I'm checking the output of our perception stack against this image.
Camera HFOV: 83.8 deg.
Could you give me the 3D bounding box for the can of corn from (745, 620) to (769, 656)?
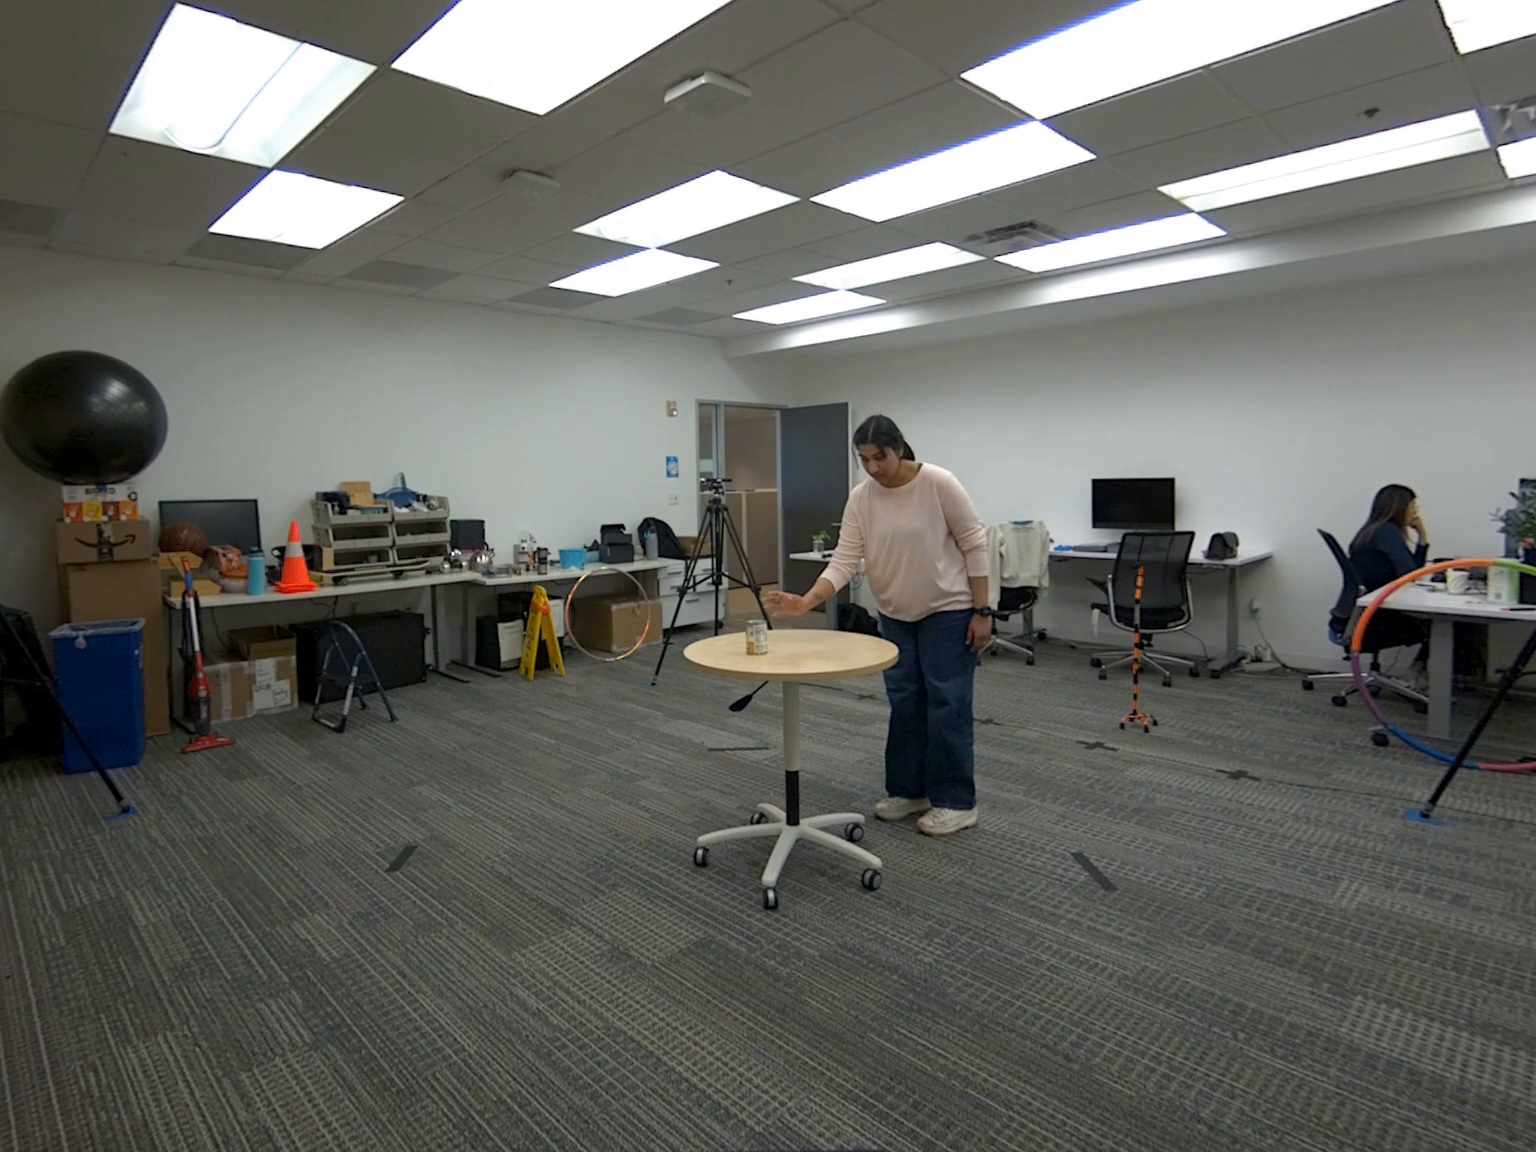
[{"bbox_3d":[-0.038,0.218,3.001,0.074,0.110,0.074,0,5,-2],"label":"can of corn"}]
